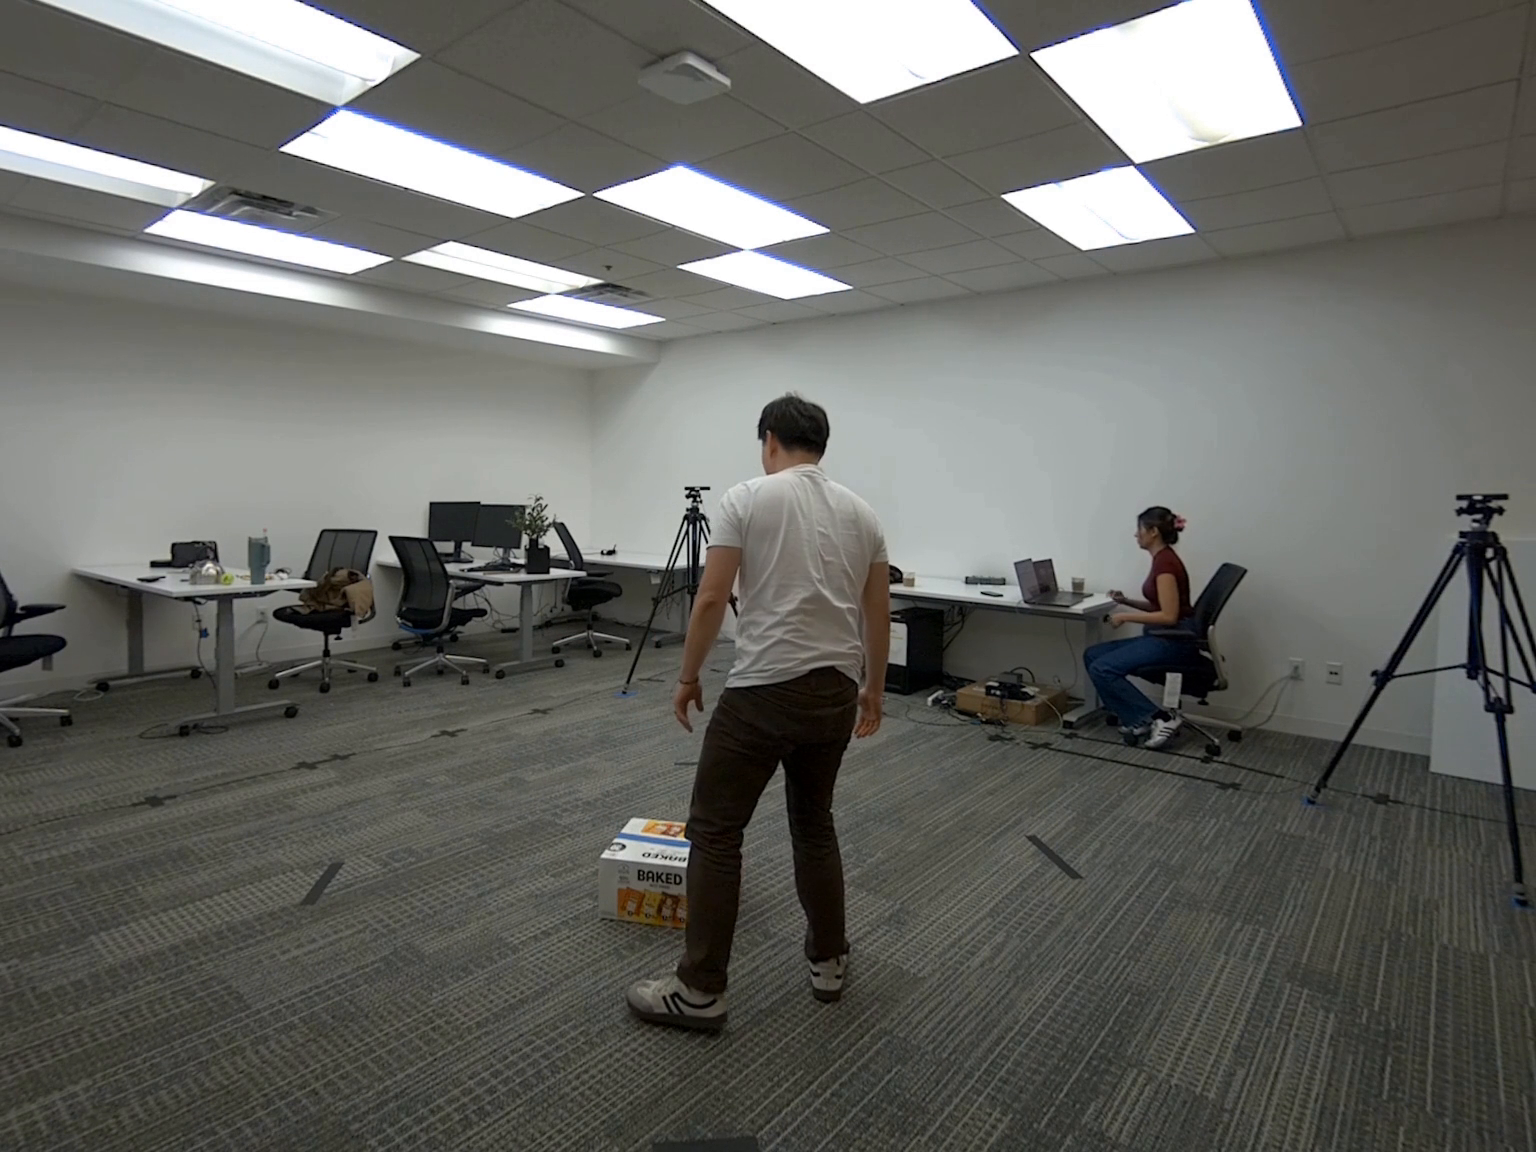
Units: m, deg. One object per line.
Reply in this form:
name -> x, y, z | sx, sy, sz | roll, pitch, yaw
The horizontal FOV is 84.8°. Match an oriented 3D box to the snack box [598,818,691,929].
snack box -> -0.327, 0.987, 2.845 | 0.410, 0.205, 0.337 | 2, 5, 10
